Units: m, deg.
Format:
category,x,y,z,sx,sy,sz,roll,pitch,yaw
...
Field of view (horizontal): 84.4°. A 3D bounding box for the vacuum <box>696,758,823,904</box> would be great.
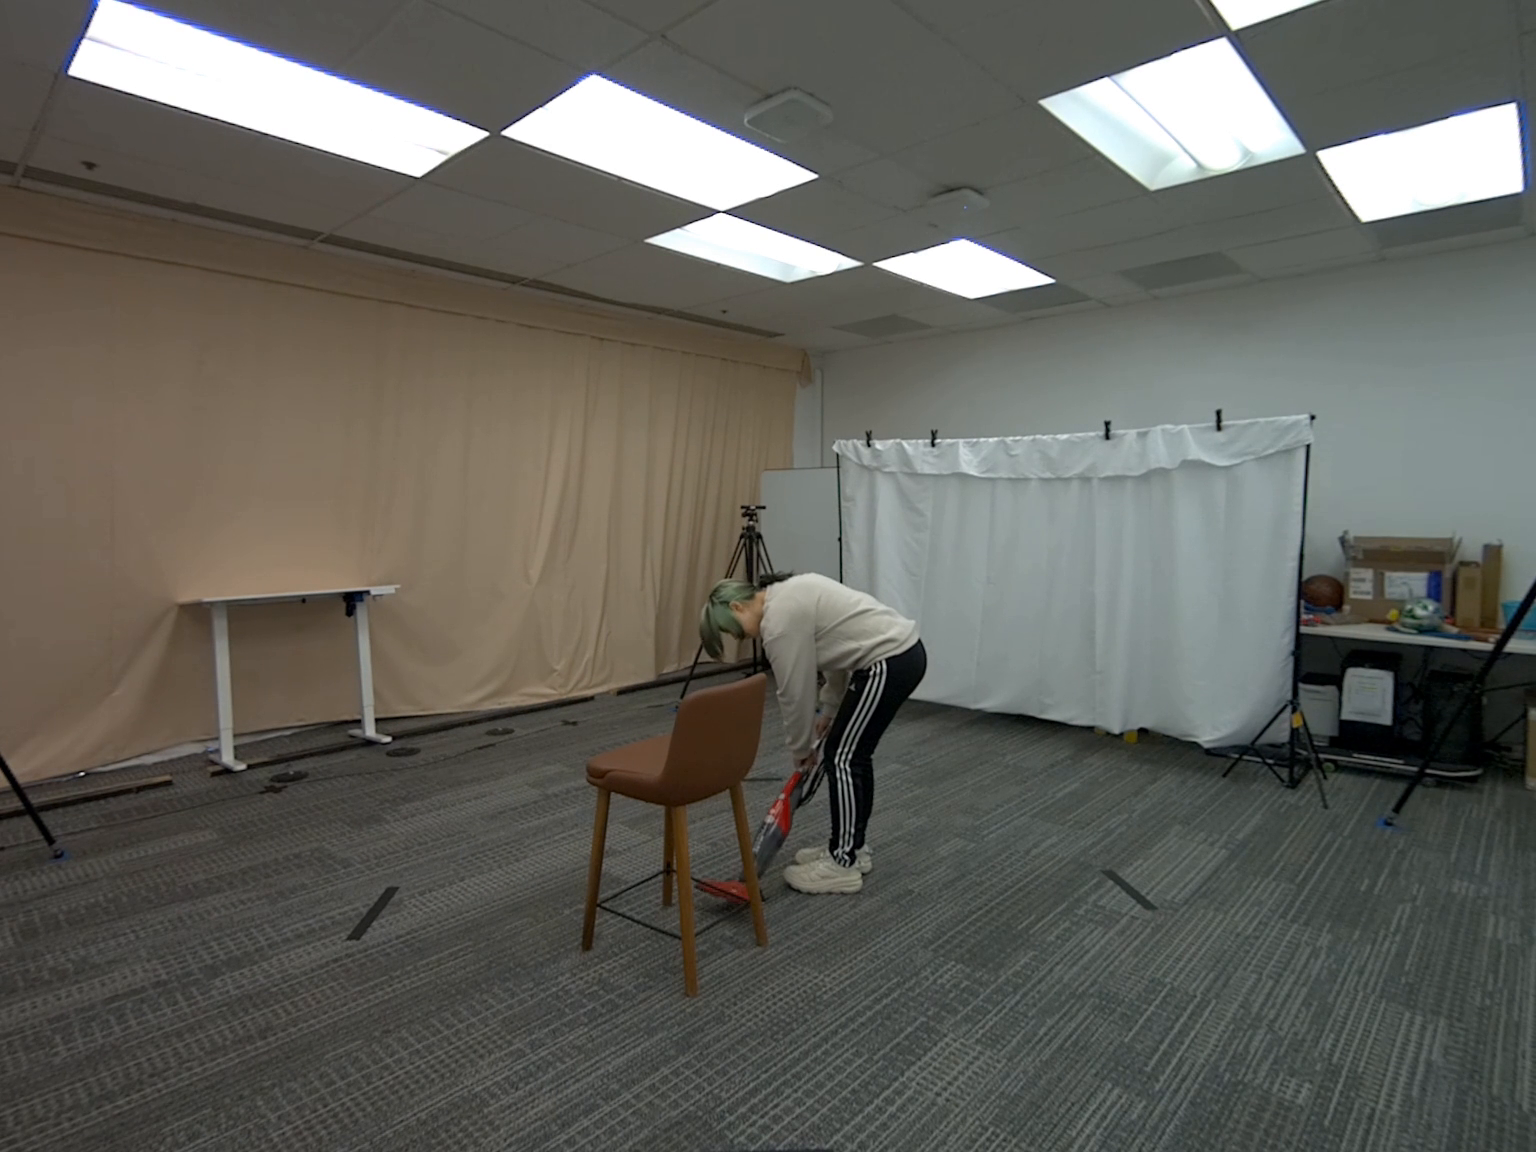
category,x,y,z,sx,sy,sz,roll,pitch,yaw
vacuum,0.133,0.790,3.237,0.260,0.140,1.042,1,37,36
